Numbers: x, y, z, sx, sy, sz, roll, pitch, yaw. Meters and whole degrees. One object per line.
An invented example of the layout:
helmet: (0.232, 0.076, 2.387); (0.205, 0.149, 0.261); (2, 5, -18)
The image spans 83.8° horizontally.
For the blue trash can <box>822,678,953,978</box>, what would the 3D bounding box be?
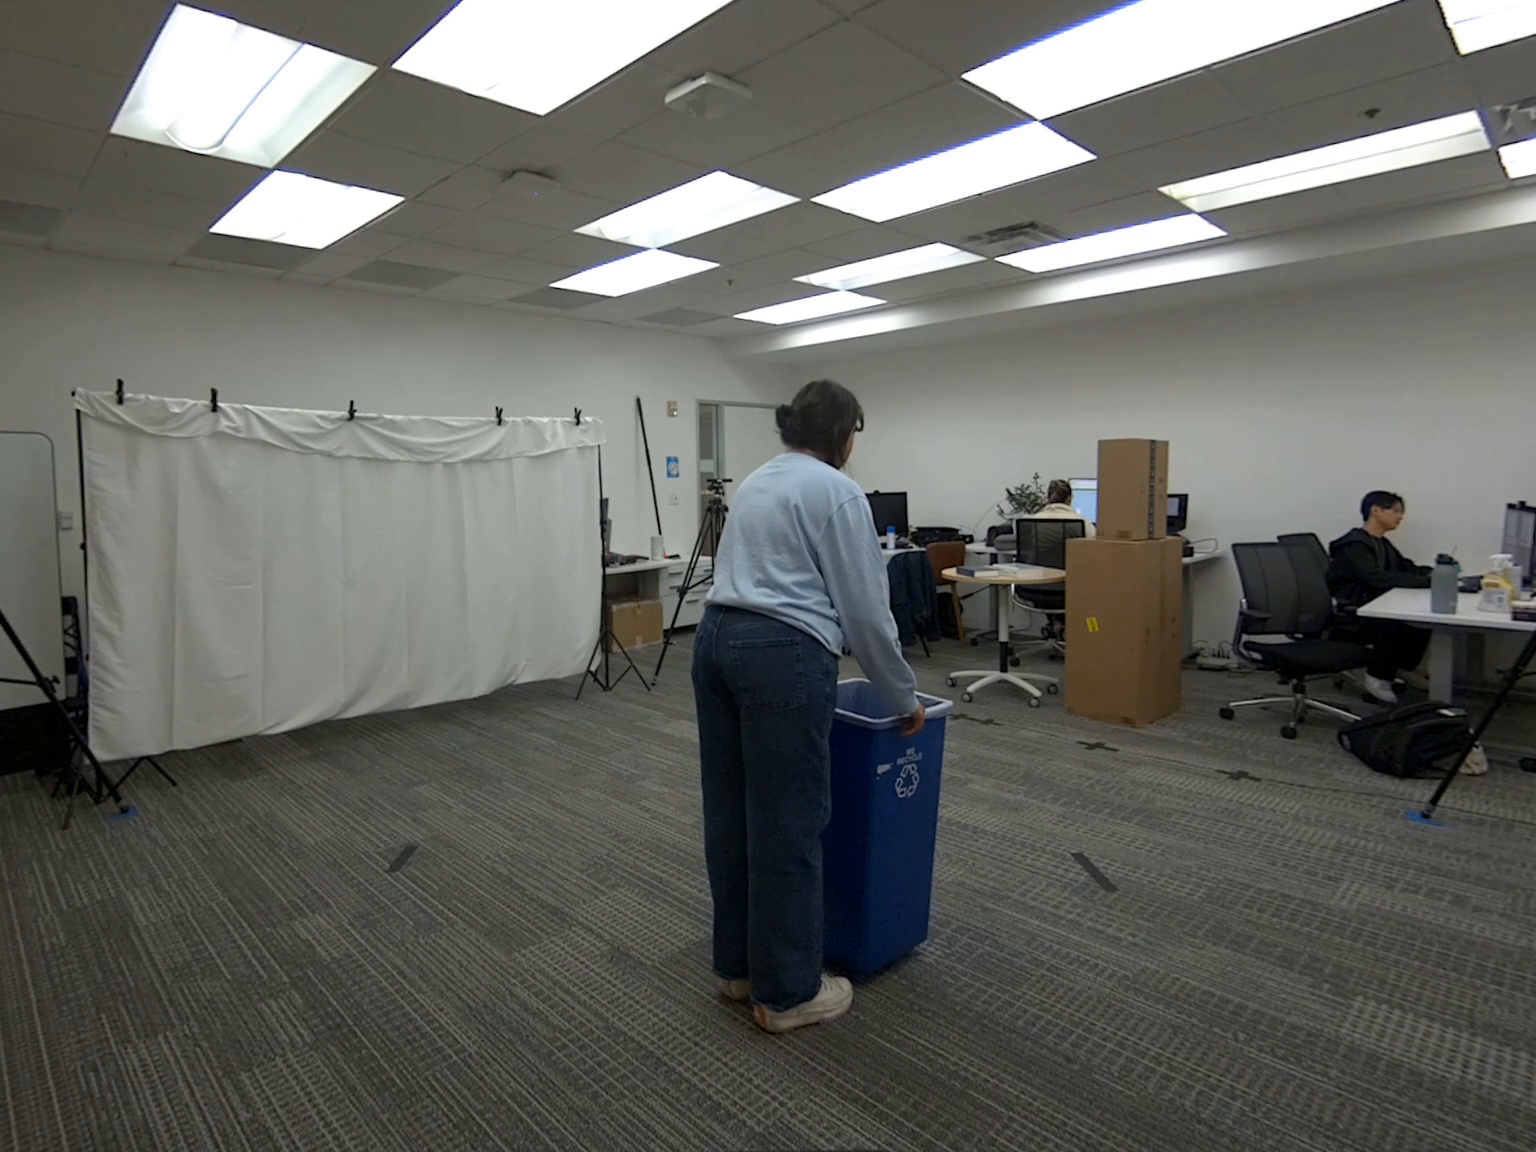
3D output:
blue trash can: (0.282, 0.706, 2.506); (0.364, 0.711, 0.390); (-2, 6, -43)
